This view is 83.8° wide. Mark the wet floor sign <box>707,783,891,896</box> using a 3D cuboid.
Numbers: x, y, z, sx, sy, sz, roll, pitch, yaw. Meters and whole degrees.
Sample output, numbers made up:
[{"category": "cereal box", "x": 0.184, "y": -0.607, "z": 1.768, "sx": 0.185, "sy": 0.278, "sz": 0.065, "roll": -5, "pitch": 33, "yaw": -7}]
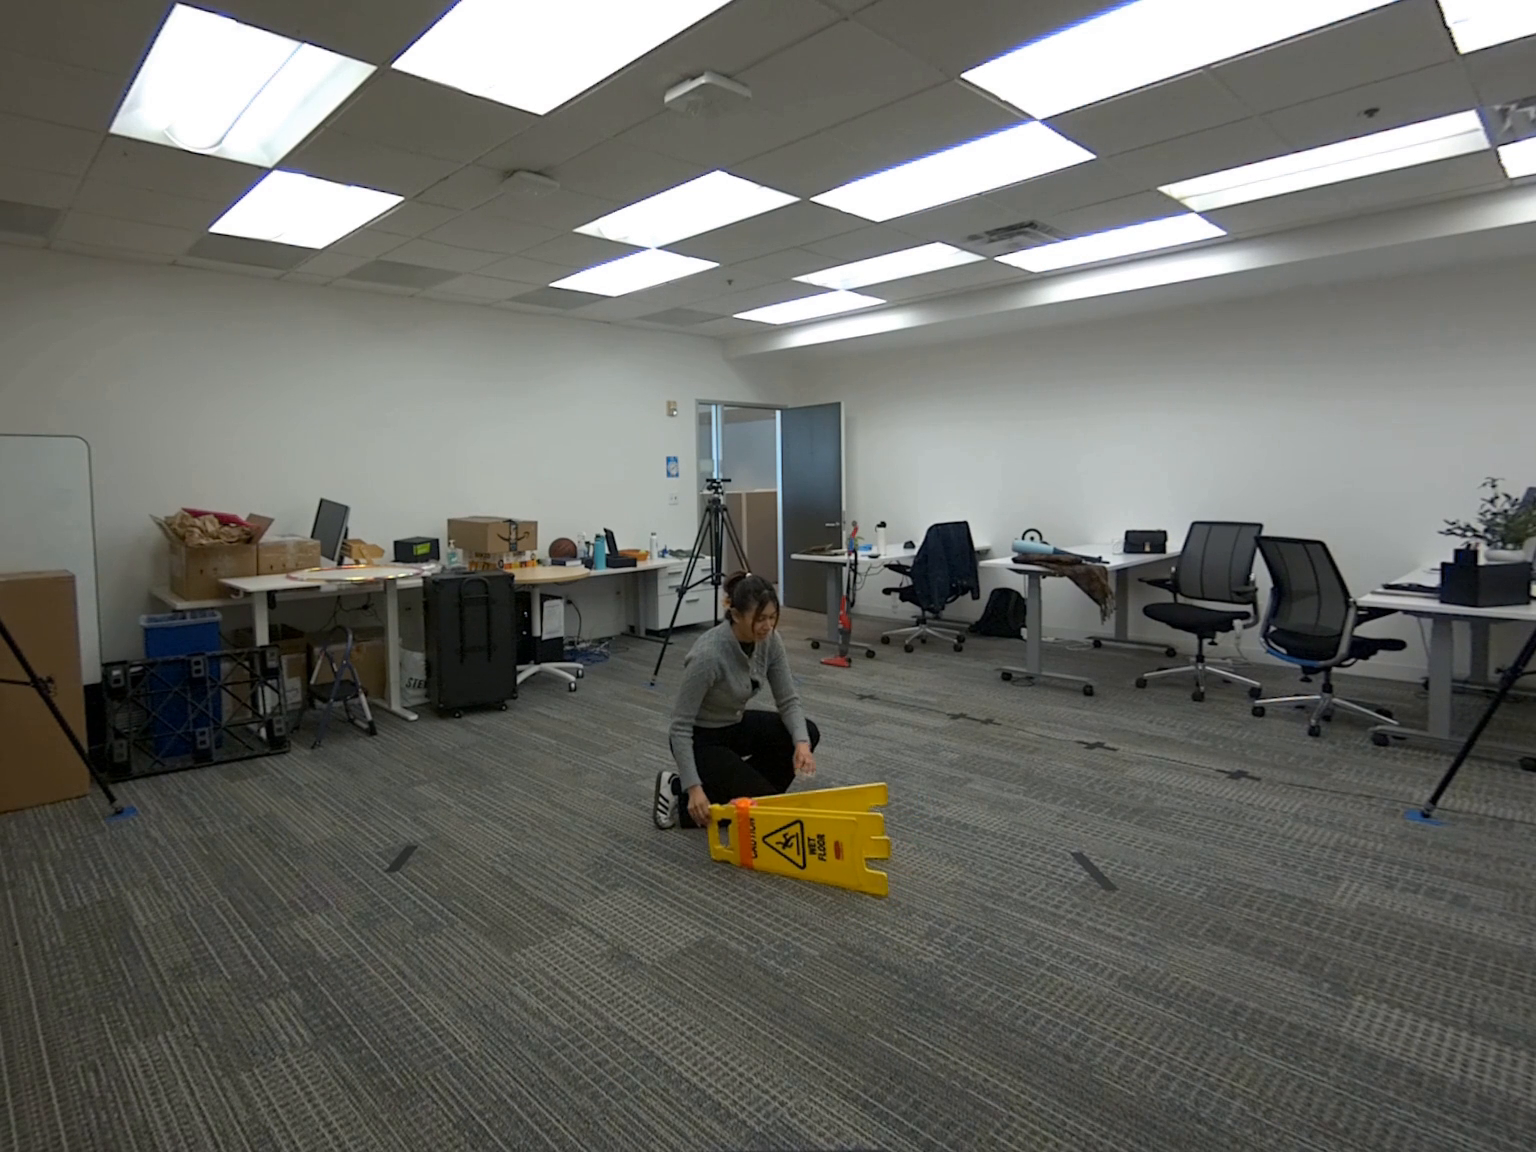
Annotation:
[{"category": "wet floor sign", "x": 0.096, "y": 0.920, "z": 3.056, "sx": 0.655, "sy": 0.281, "sz": 0.287, "roll": -3, "pitch": 5, "yaw": 14}]
